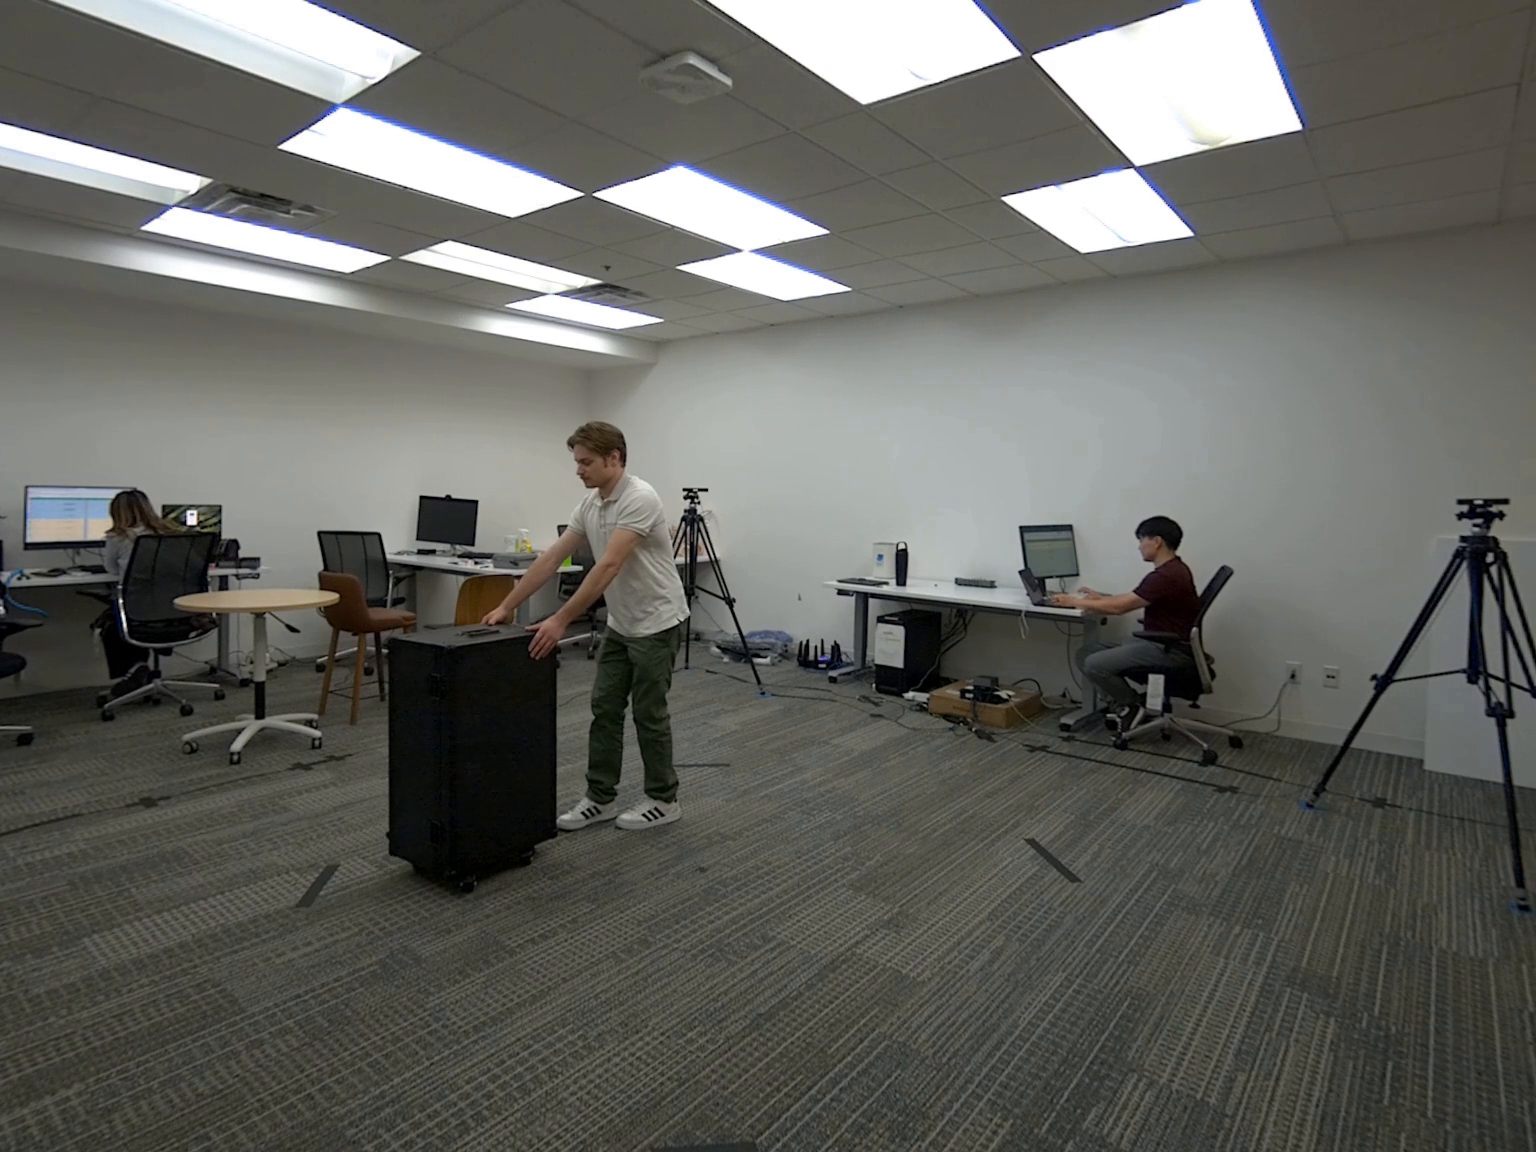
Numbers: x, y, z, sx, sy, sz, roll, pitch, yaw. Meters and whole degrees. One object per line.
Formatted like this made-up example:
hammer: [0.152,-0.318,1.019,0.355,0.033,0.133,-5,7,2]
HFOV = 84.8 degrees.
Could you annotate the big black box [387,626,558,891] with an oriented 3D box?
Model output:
big black box: [-1.092,0.635,3.098,0.397,0.867,0.508,2,2,34]
